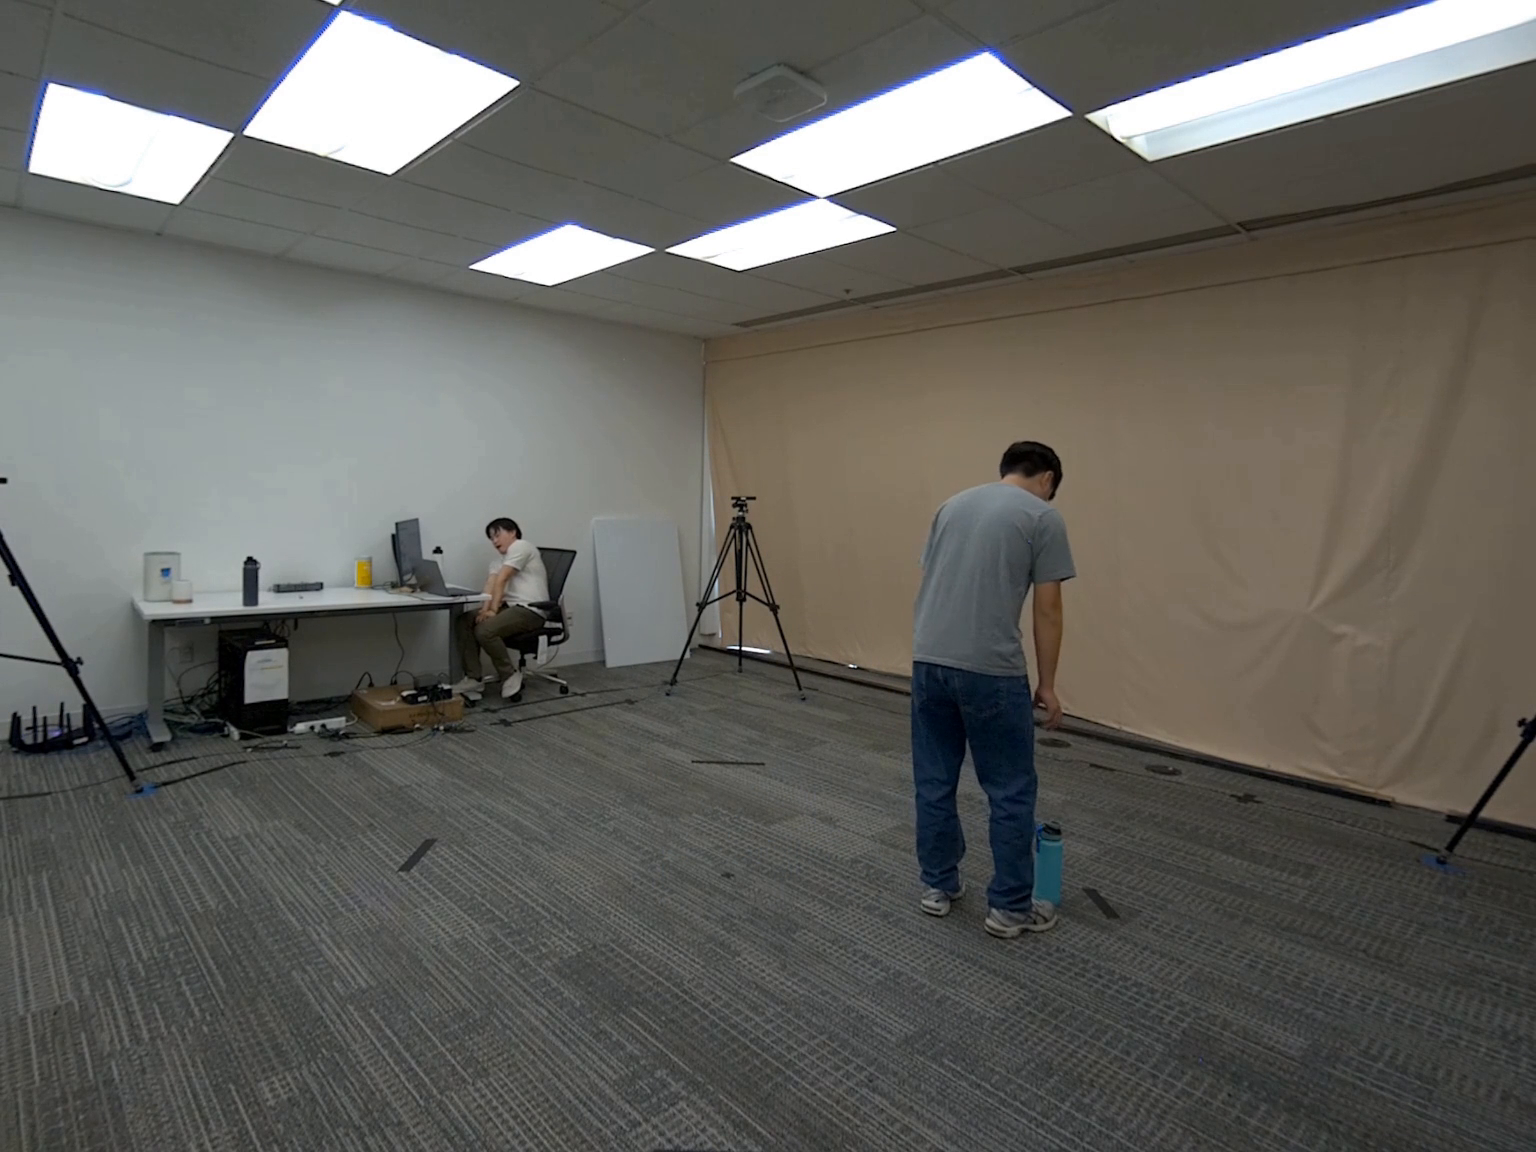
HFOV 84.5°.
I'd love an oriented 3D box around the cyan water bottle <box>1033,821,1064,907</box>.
[{"bbox_3d":[0.984,1.009,2.973,0.092,0.283,0.092,1,3,-1],"label":"cyan water bottle"}]
